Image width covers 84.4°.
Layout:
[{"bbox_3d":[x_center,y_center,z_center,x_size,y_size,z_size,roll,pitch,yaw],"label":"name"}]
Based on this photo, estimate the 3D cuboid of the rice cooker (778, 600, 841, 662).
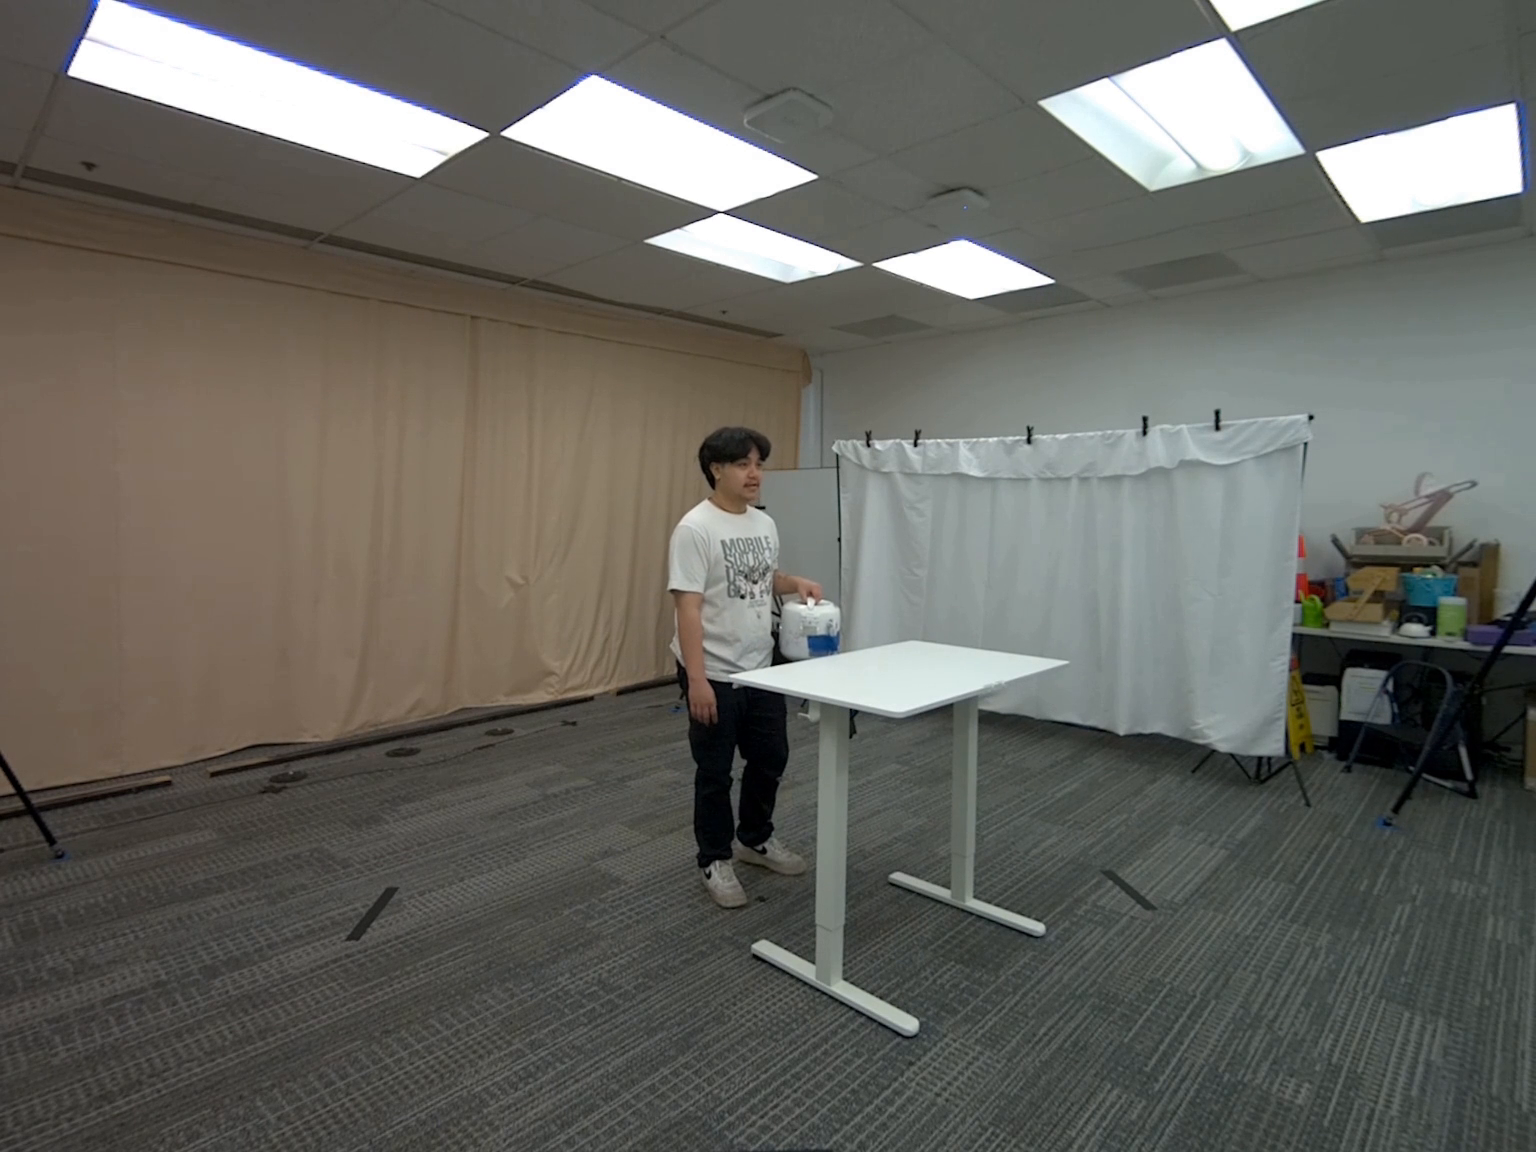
[{"bbox_3d":[0.156,0.188,3.053,0.219,0.232,0.220,4,7,6],"label":"rice cooker"}]
